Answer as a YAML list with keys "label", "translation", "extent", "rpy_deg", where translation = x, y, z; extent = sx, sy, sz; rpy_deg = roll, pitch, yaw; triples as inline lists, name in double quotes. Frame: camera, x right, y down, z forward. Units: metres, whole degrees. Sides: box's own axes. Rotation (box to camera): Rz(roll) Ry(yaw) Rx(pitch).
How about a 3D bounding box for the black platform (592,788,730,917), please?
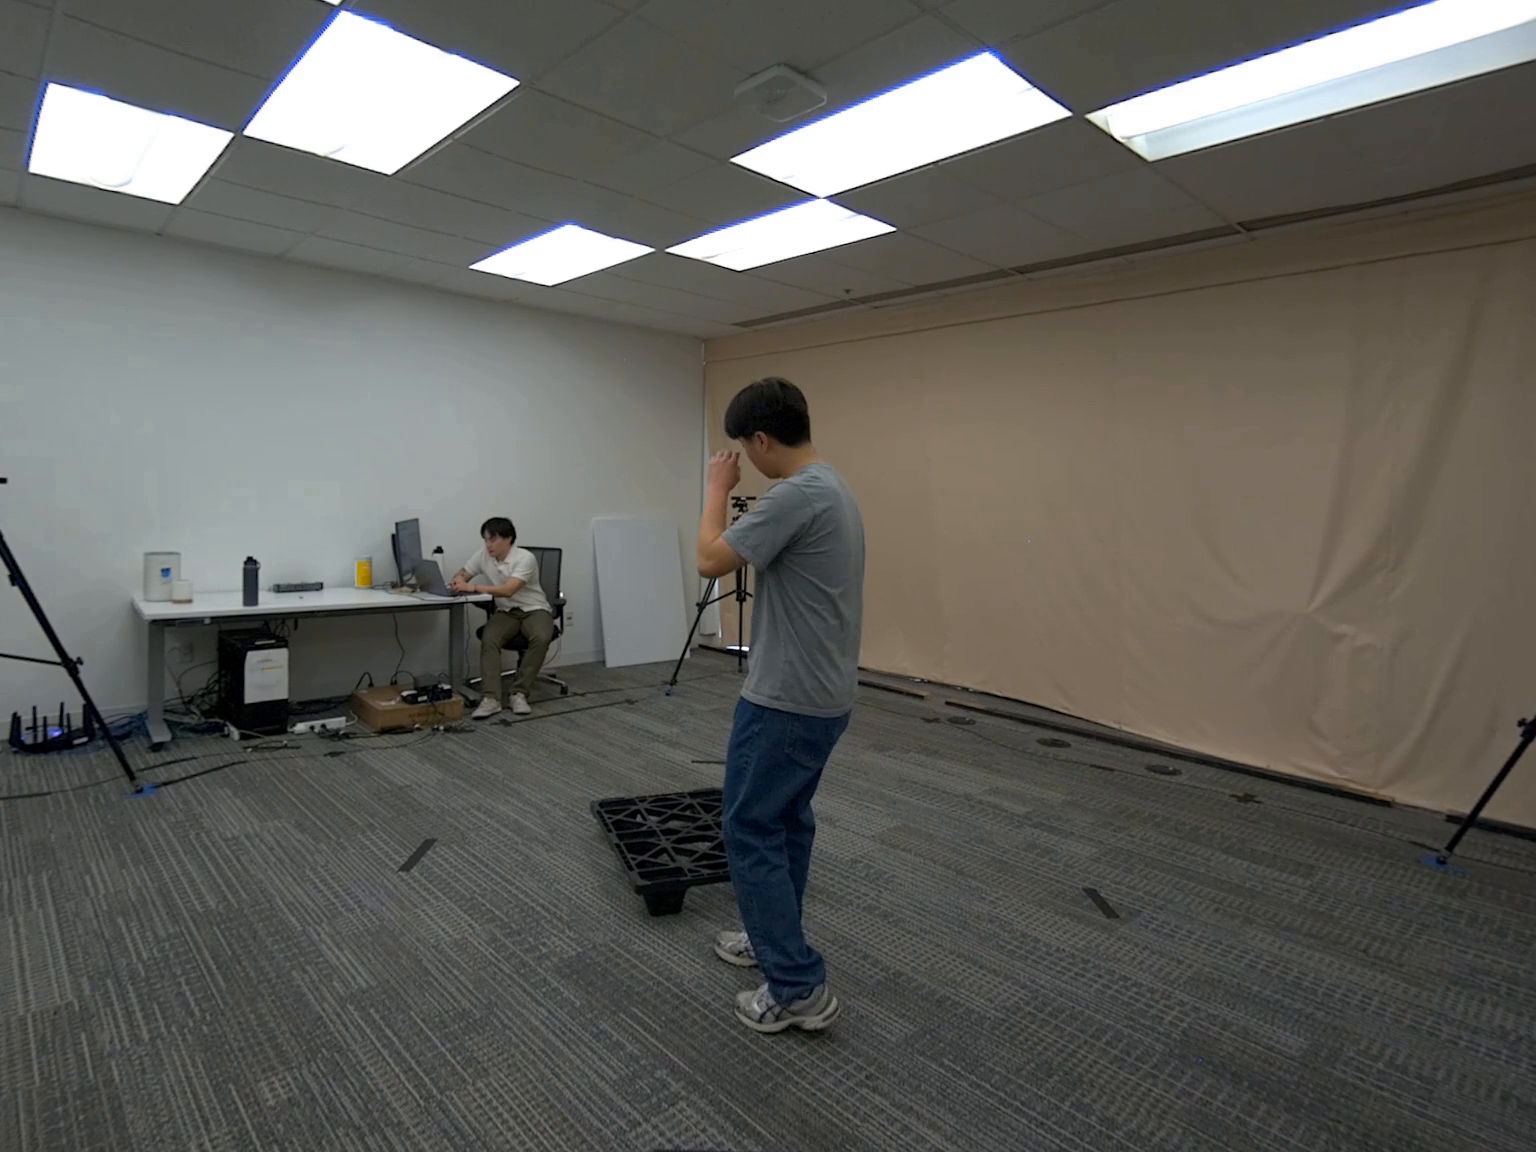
- label: "black platform"
  translation: [-0.312, 1.024, 3.203]
  extent: [0.595, 0.143, 0.821]
  rpy_deg: [0, 6, -22]
